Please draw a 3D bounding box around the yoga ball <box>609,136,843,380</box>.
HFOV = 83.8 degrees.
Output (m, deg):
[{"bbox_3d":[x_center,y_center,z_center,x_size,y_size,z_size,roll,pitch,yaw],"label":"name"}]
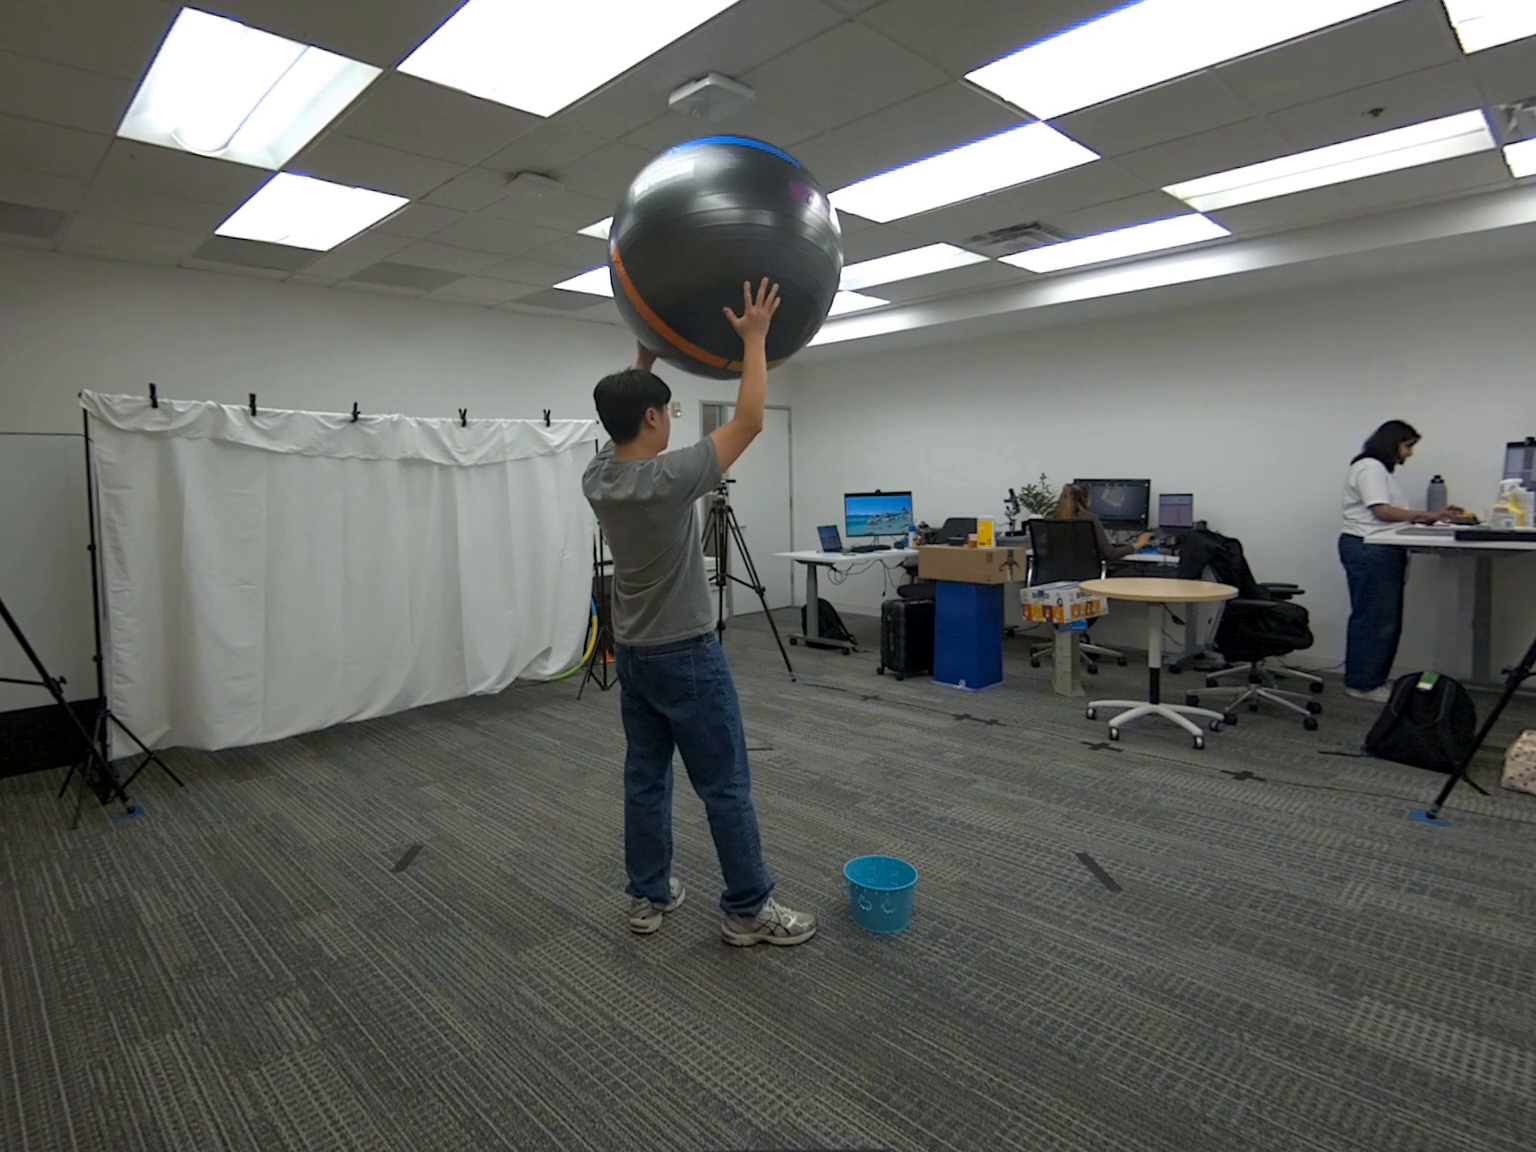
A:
[{"bbox_3d":[-0.143,-1.019,2.776,0.757,0.755,0.762,-1,5,-2],"label":"yoga ball"}]
